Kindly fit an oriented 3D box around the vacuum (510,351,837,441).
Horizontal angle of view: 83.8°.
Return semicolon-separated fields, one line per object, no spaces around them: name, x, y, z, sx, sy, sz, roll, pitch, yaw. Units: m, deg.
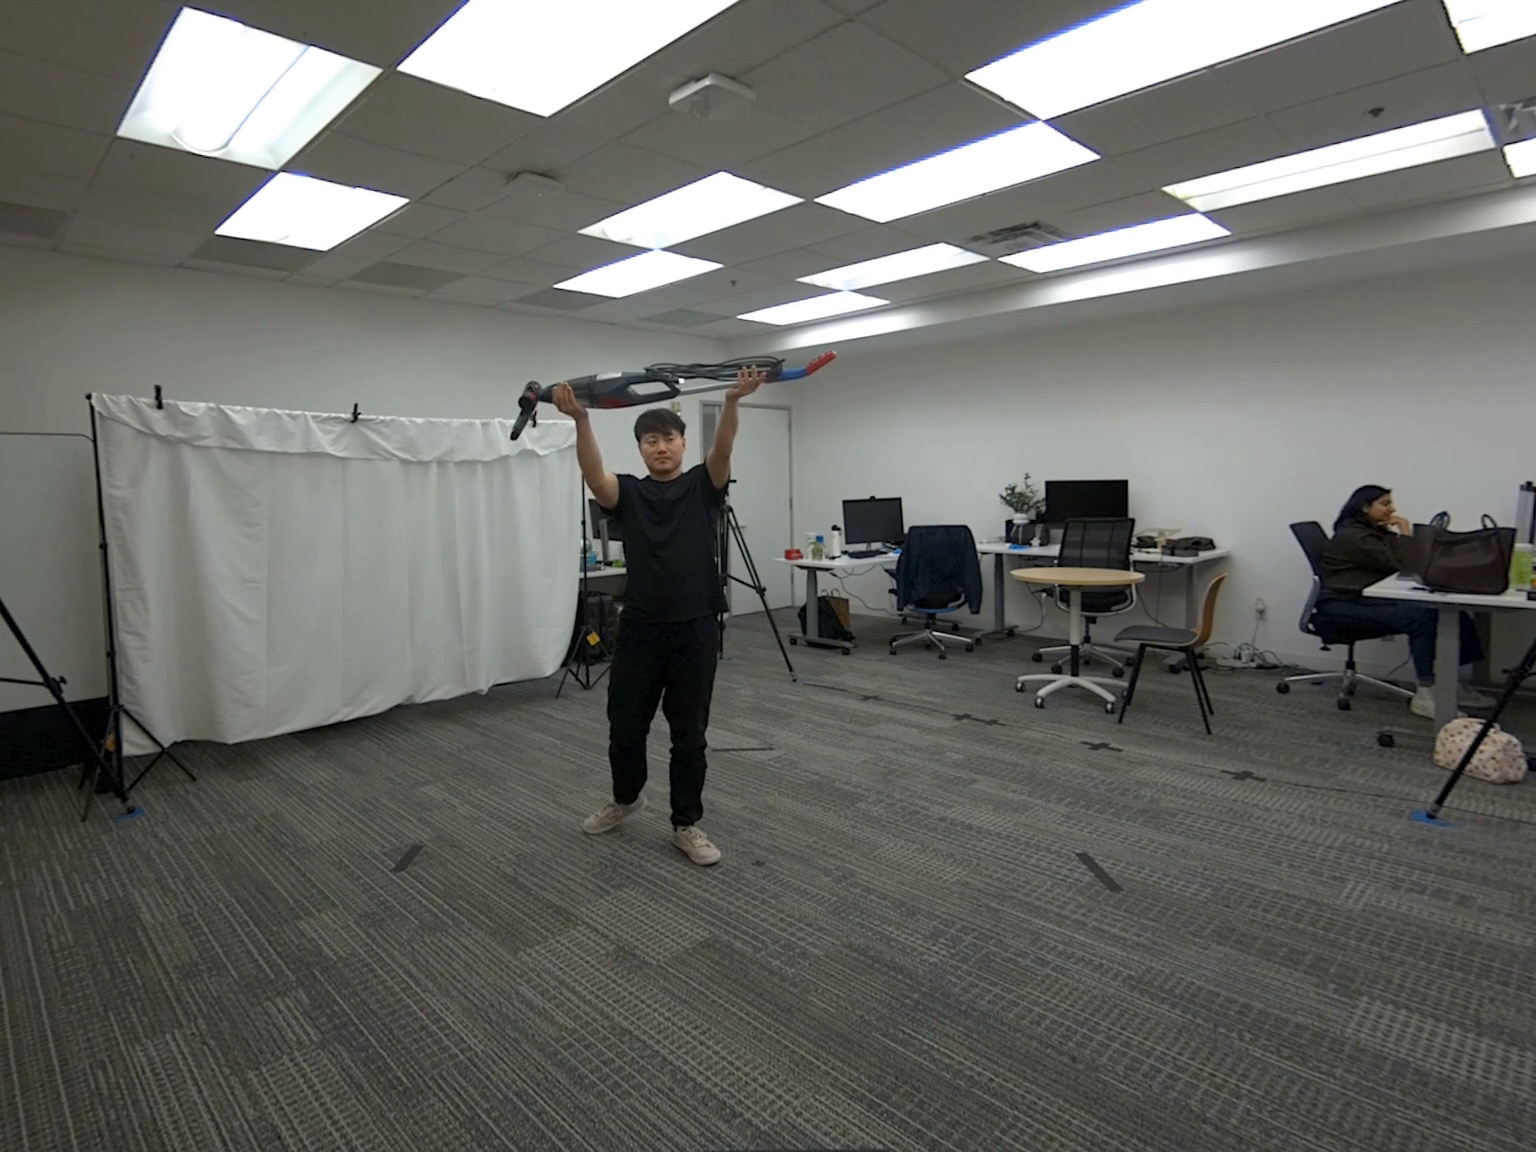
vacuum;-0.315;-0.632;2.809;1.056;0.140;0.258;-8;33;8
